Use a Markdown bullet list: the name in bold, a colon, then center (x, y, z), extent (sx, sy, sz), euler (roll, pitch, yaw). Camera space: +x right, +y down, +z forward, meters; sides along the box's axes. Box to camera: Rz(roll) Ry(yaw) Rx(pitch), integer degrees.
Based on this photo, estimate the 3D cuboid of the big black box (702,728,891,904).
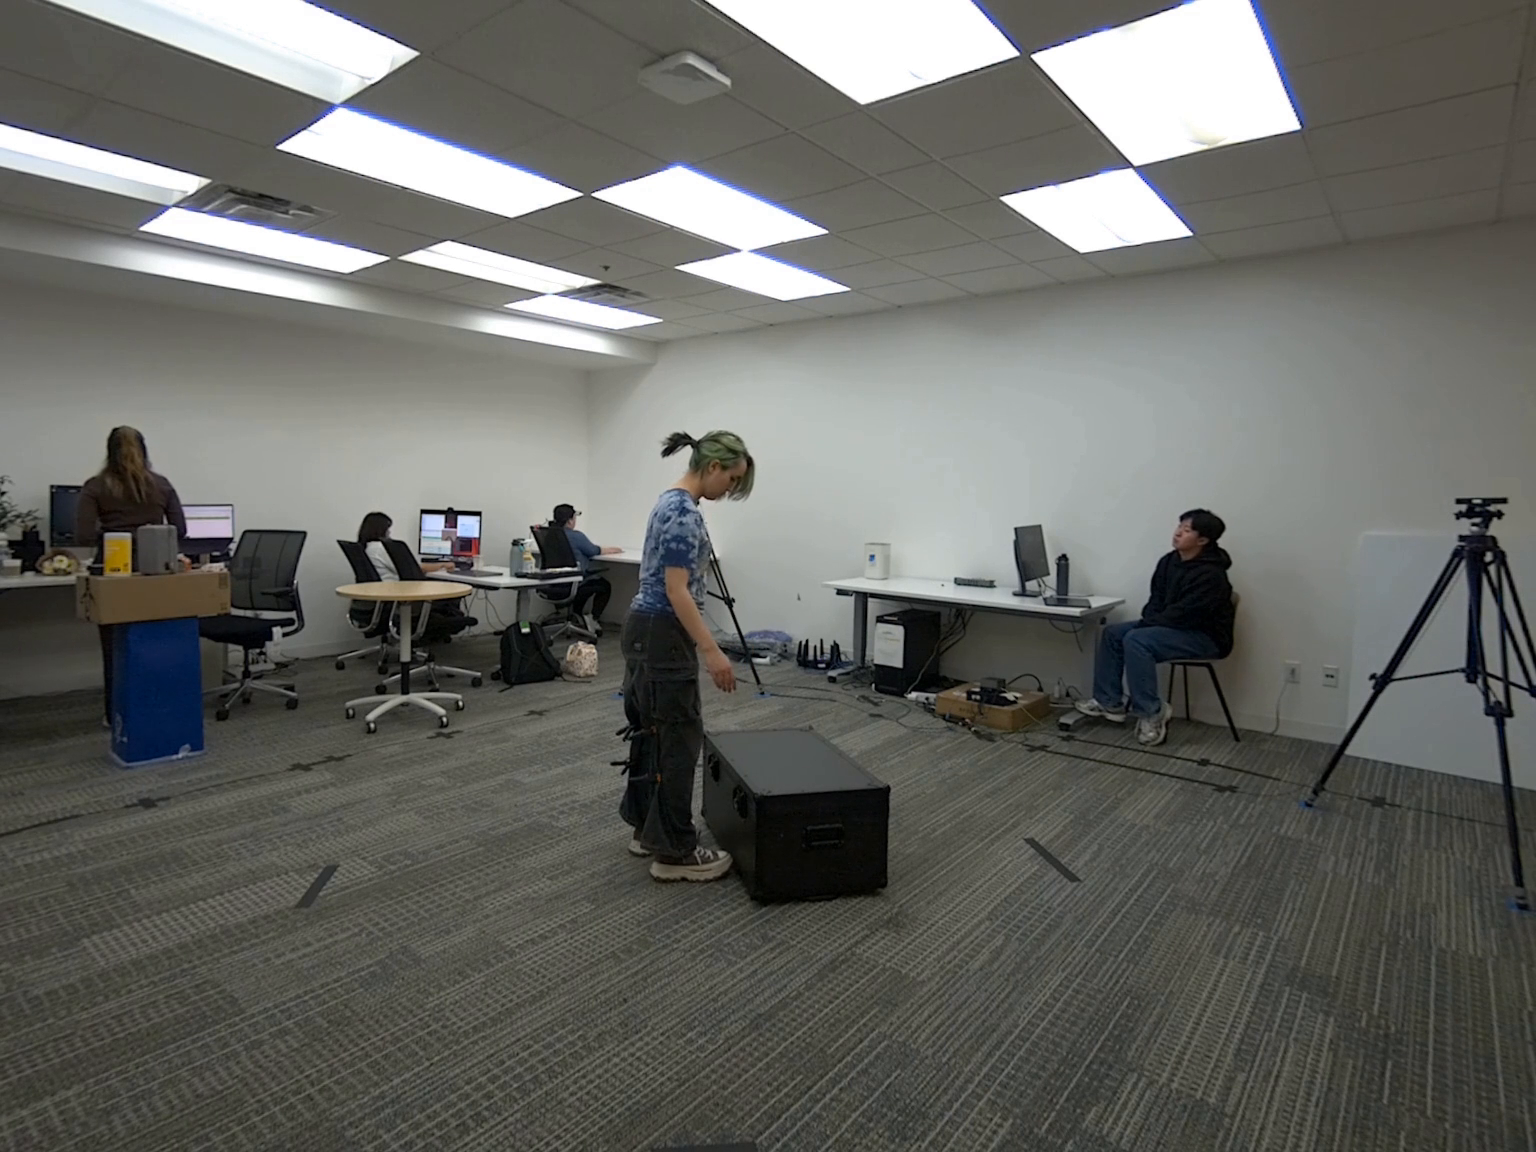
- **big black box**: center (0.069, 0.871, 3.216), extent (0.513, 0.395, 0.878), euler (-1, 5, -16)
